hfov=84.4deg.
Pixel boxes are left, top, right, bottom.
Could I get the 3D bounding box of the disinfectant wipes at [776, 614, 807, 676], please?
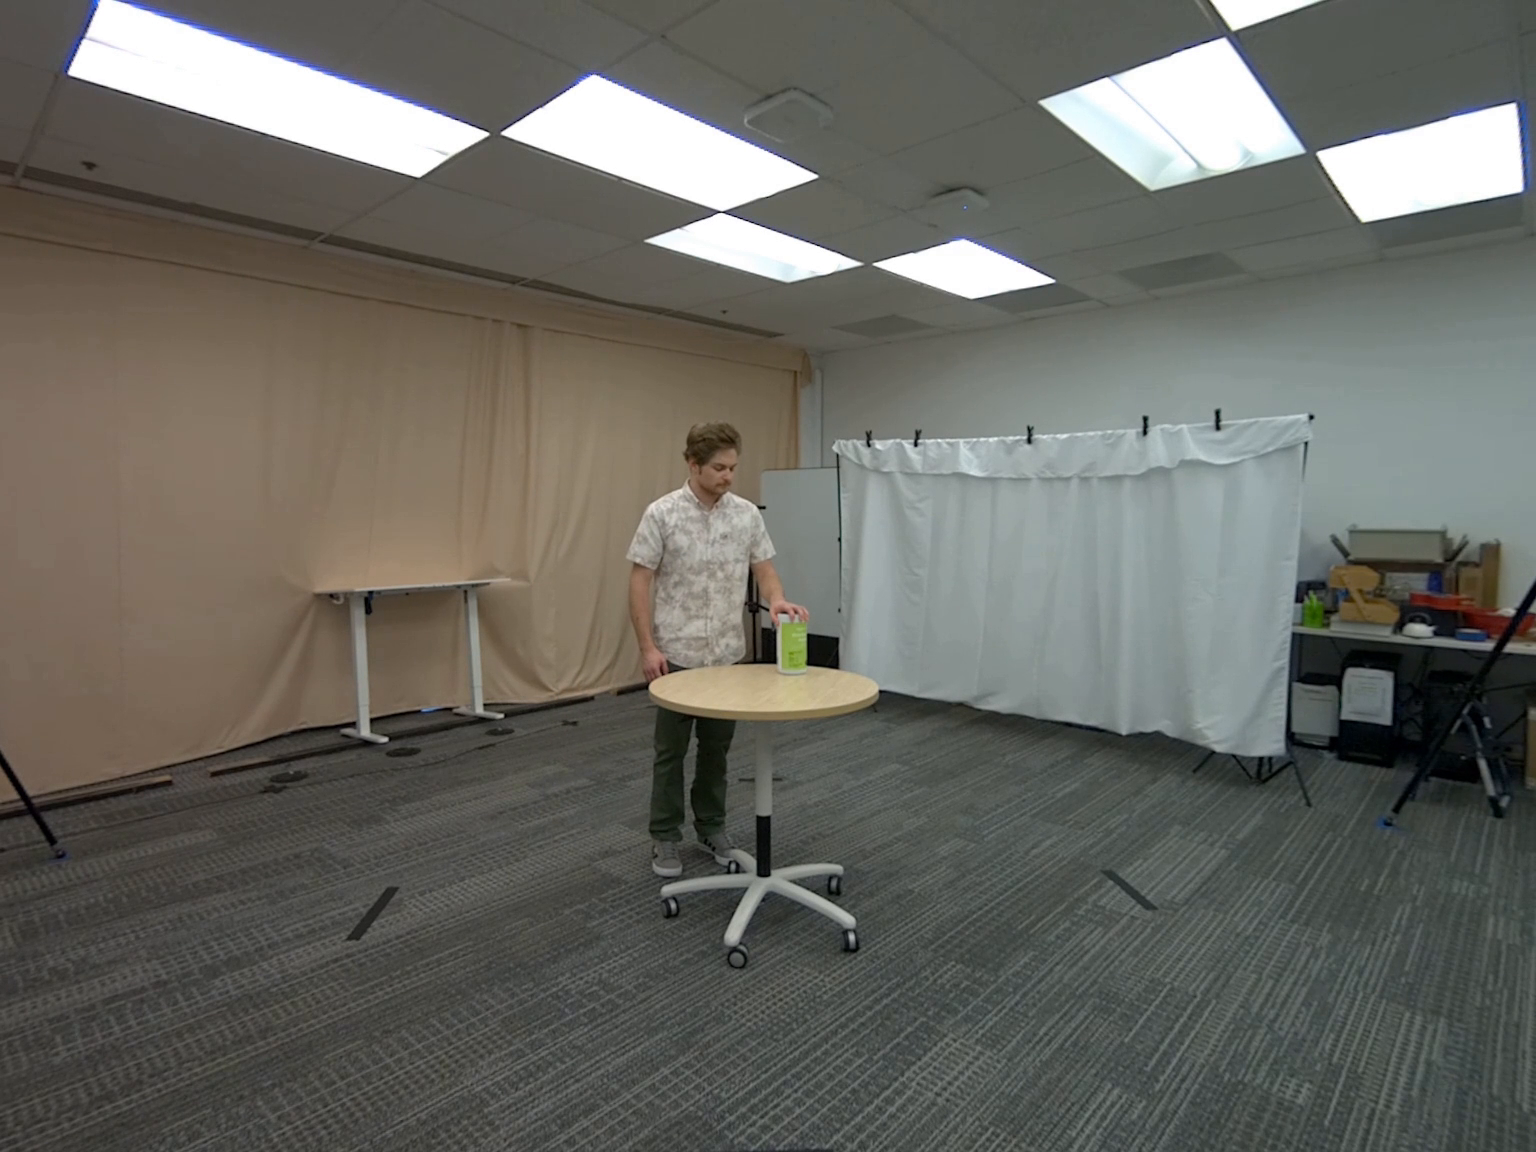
[{"bbox_3d":[0.087,0.243,3.039,0.117,0.217,0.118,2,3,-2],"label":"disinfectant wipes"}]
